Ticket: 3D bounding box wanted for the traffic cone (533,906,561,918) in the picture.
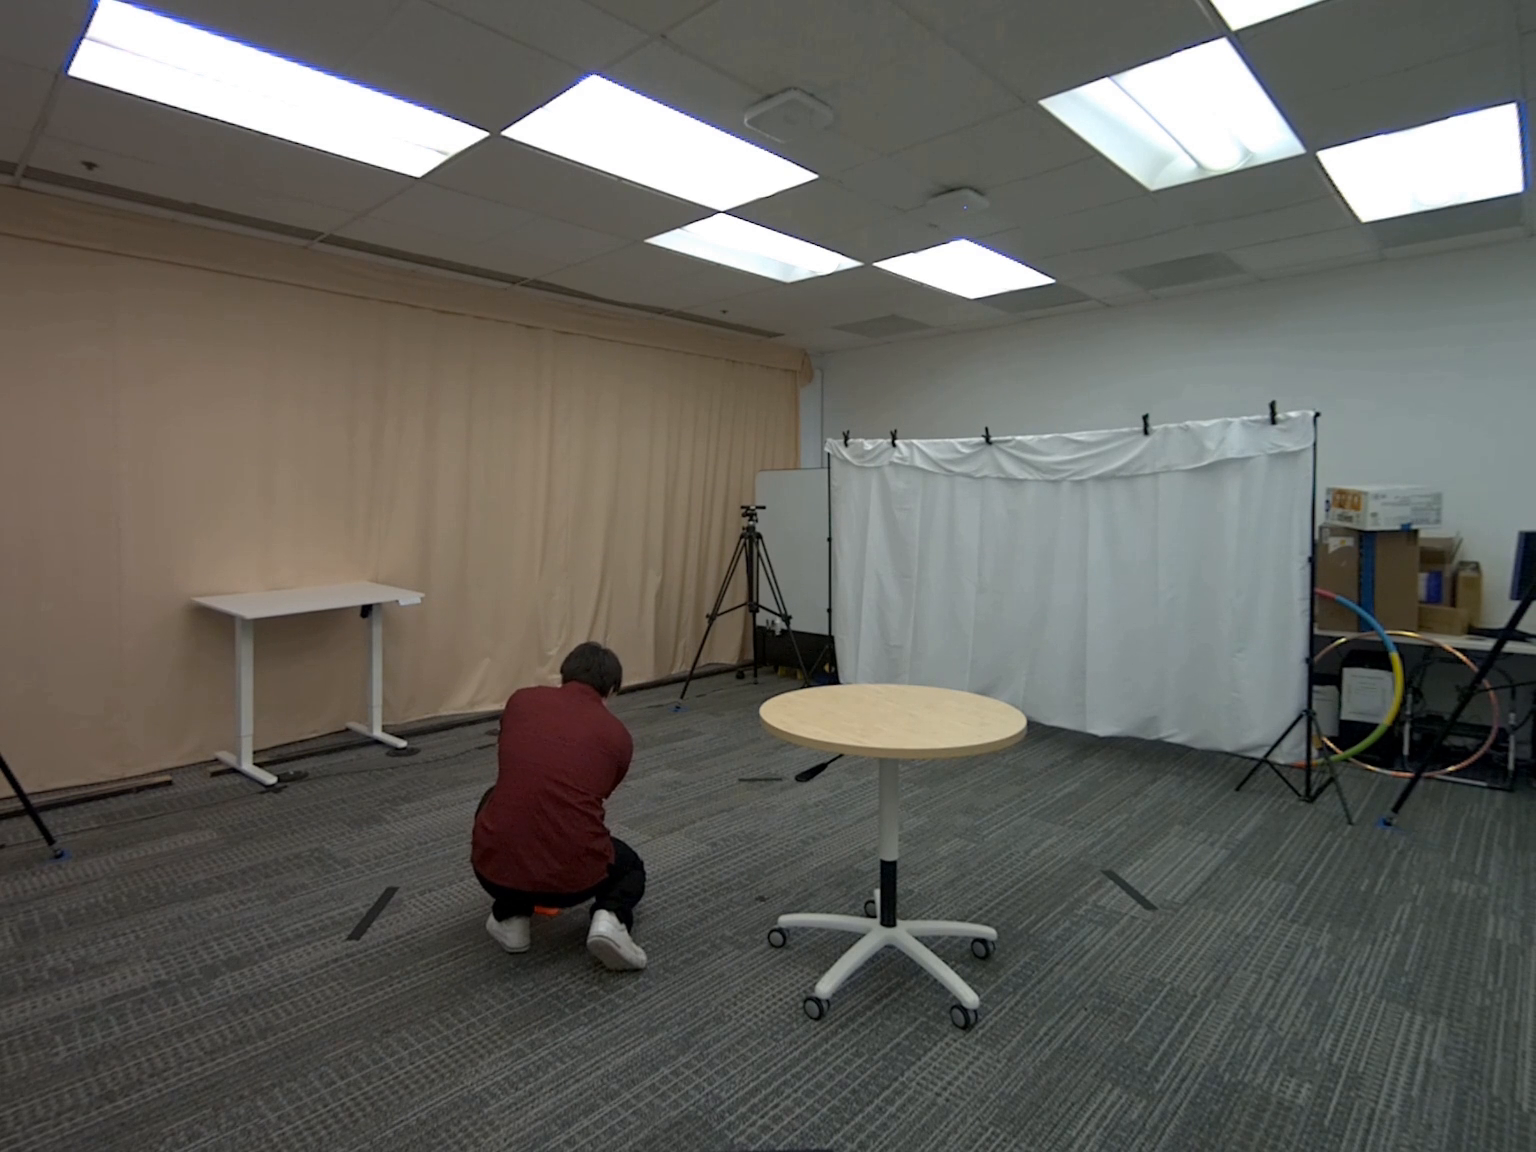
[{"bbox_3d":[-0.814,0.964,2.977,0.207,0.382,0.202,-3,5,16],"label":"traffic cone"}]
